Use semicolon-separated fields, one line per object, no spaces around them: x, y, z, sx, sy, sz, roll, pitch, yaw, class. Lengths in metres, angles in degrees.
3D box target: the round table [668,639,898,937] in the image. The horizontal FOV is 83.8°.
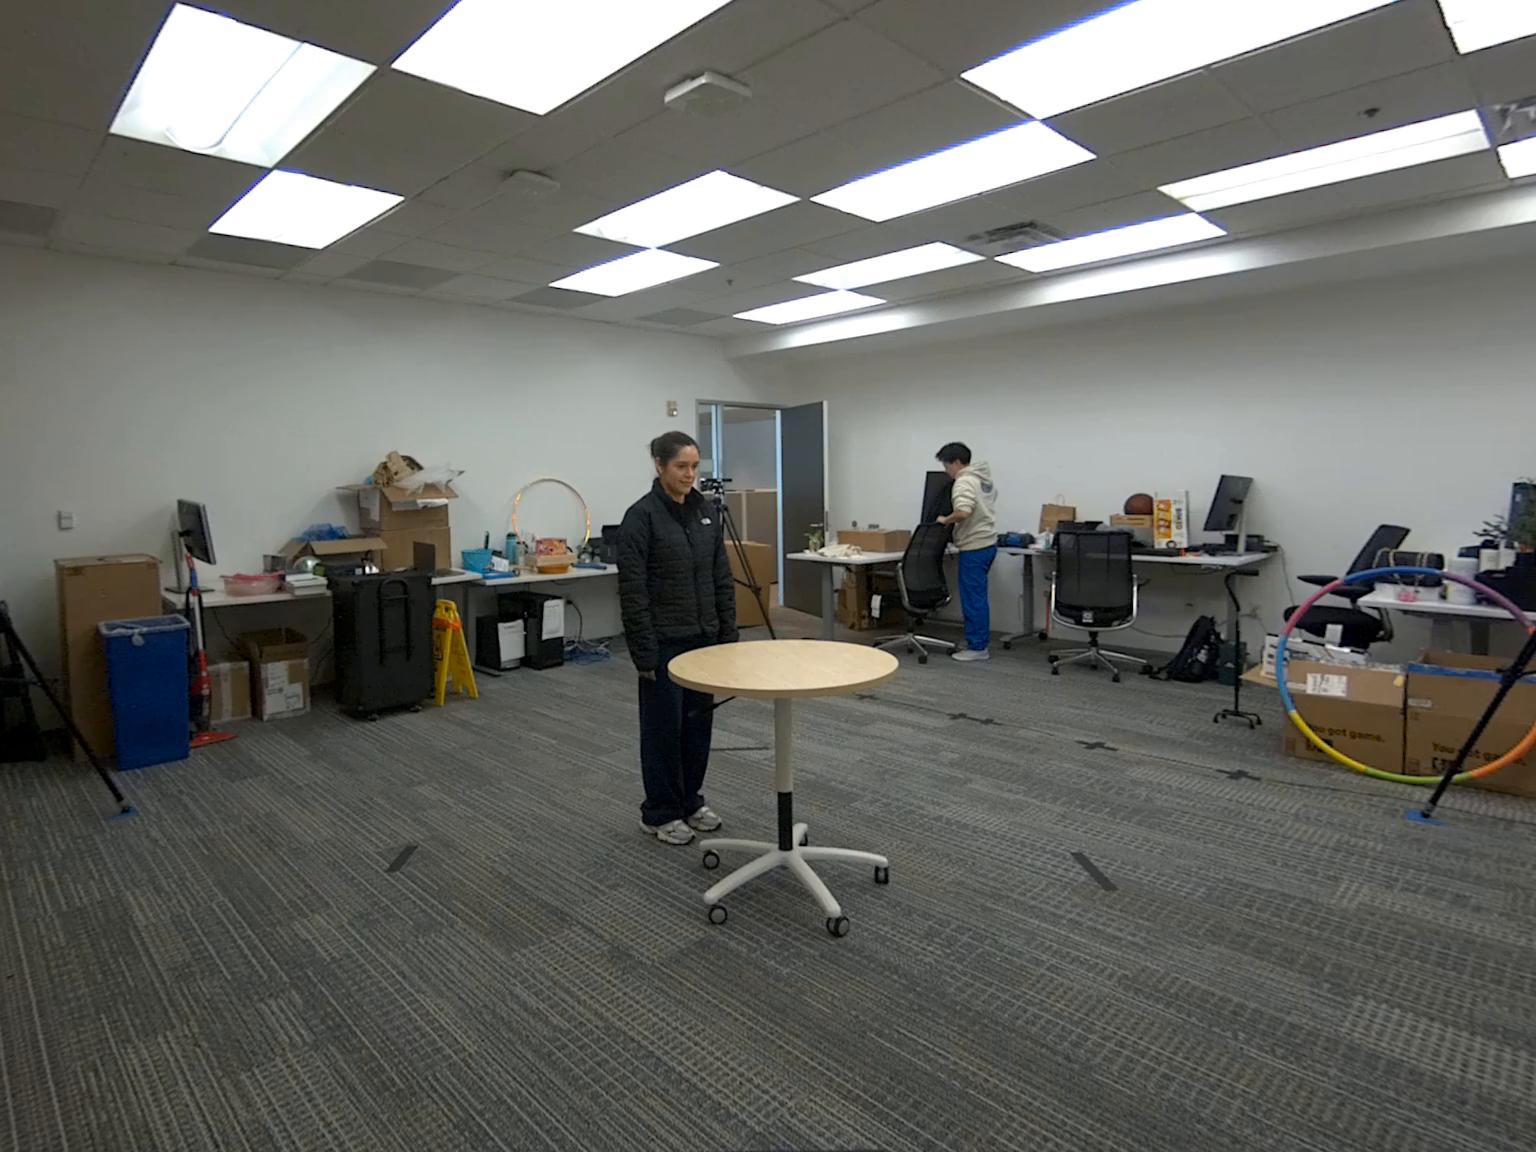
0.056;0.671;2.913;0.784;0.783;0.789;-1;5;-2;round table
